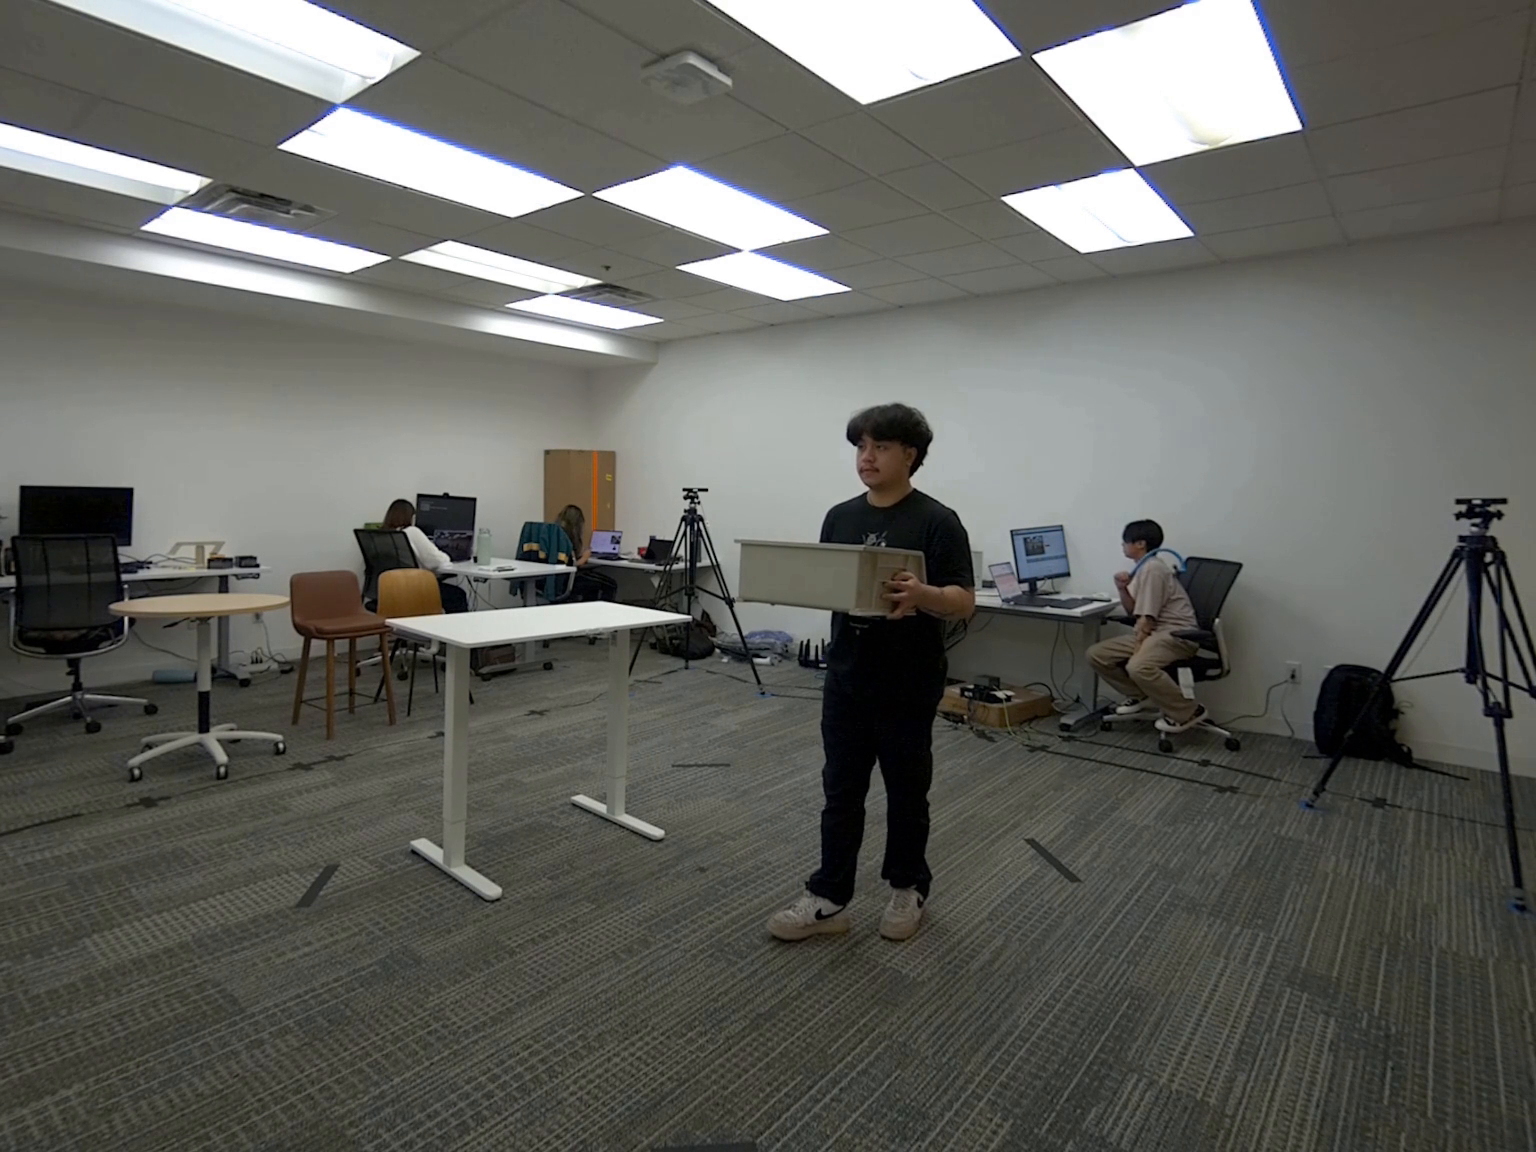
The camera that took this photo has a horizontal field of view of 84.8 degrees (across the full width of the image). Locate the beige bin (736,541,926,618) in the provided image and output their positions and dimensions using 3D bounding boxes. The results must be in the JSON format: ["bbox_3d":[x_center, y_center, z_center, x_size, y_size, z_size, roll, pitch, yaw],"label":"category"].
[{"bbox_3d":[0.162,-0.002,2.428,0.436,0.189,0.365,5,3,37],"label":"beige bin"}]
